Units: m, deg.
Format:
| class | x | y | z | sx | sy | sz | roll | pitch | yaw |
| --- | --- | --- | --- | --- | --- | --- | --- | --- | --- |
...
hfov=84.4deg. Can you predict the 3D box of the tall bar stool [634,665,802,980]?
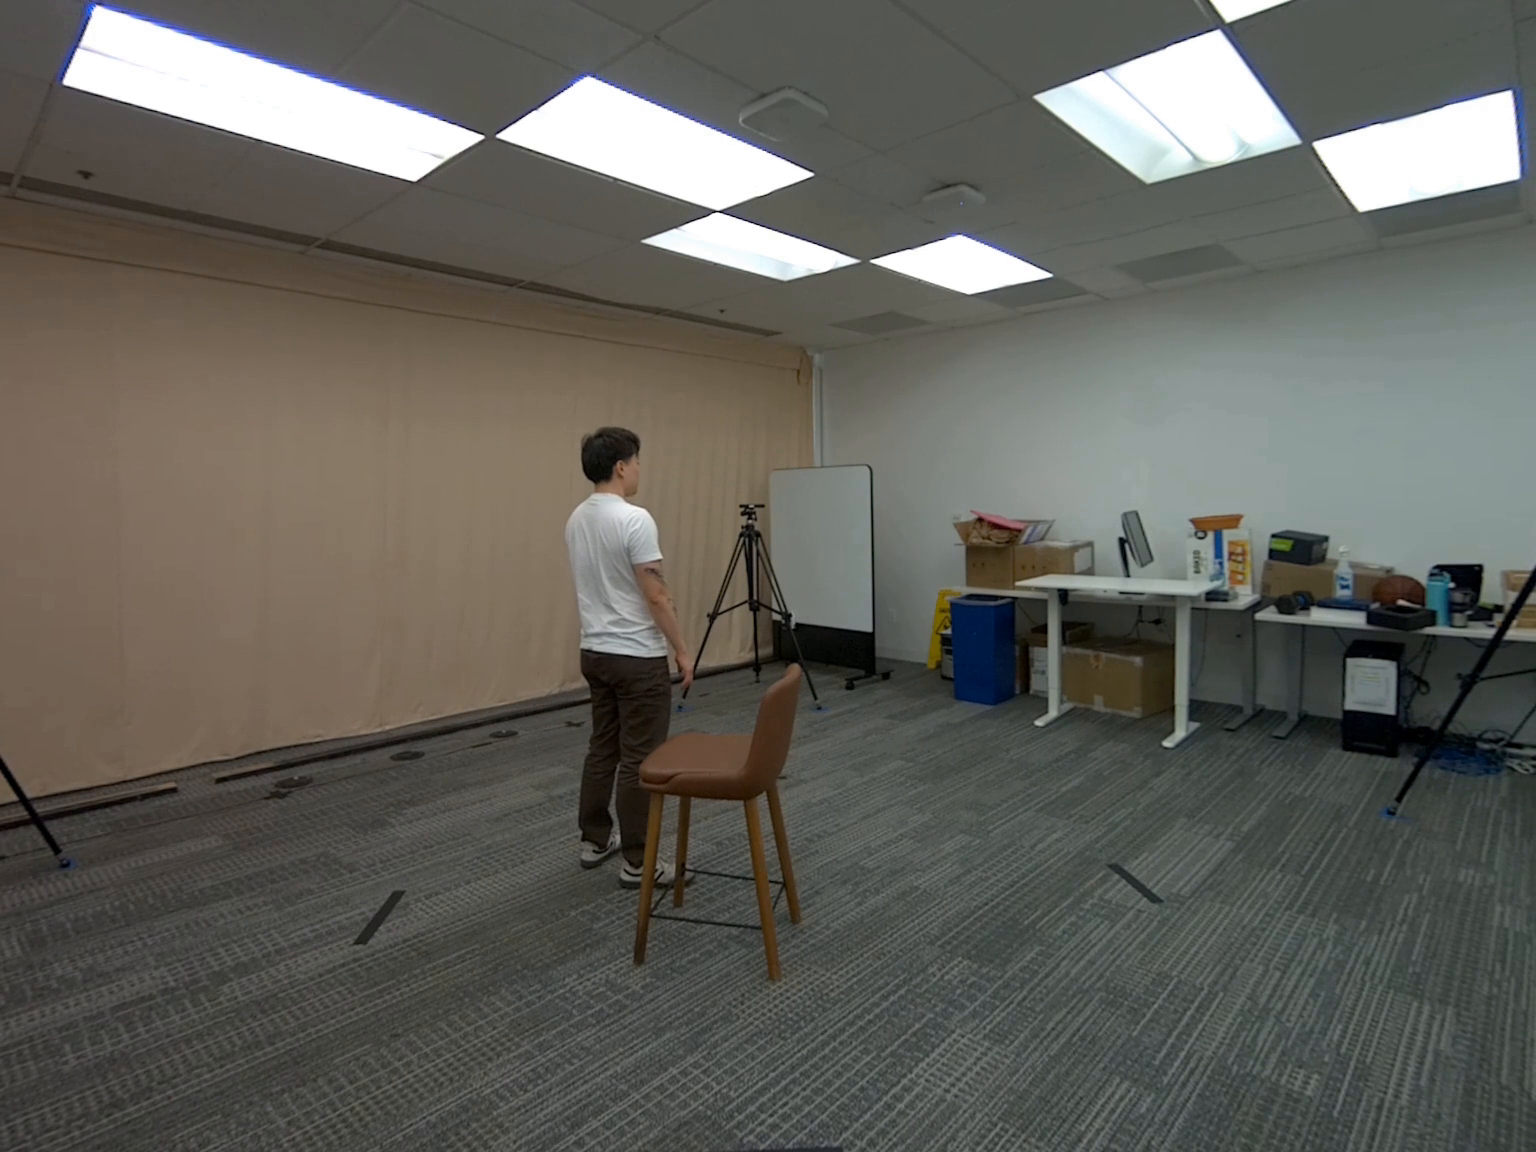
| class | x | y | z | sx | sy | sz | roll | pitch | yaw |
| --- | --- | --- | --- | --- | --- | --- | --- | --- | --- |
| tall bar stool | -0.147 | 0.737 | 2.669 | 0.476 | 0.887 | 0.450 | 1 | 4 | 16 |
